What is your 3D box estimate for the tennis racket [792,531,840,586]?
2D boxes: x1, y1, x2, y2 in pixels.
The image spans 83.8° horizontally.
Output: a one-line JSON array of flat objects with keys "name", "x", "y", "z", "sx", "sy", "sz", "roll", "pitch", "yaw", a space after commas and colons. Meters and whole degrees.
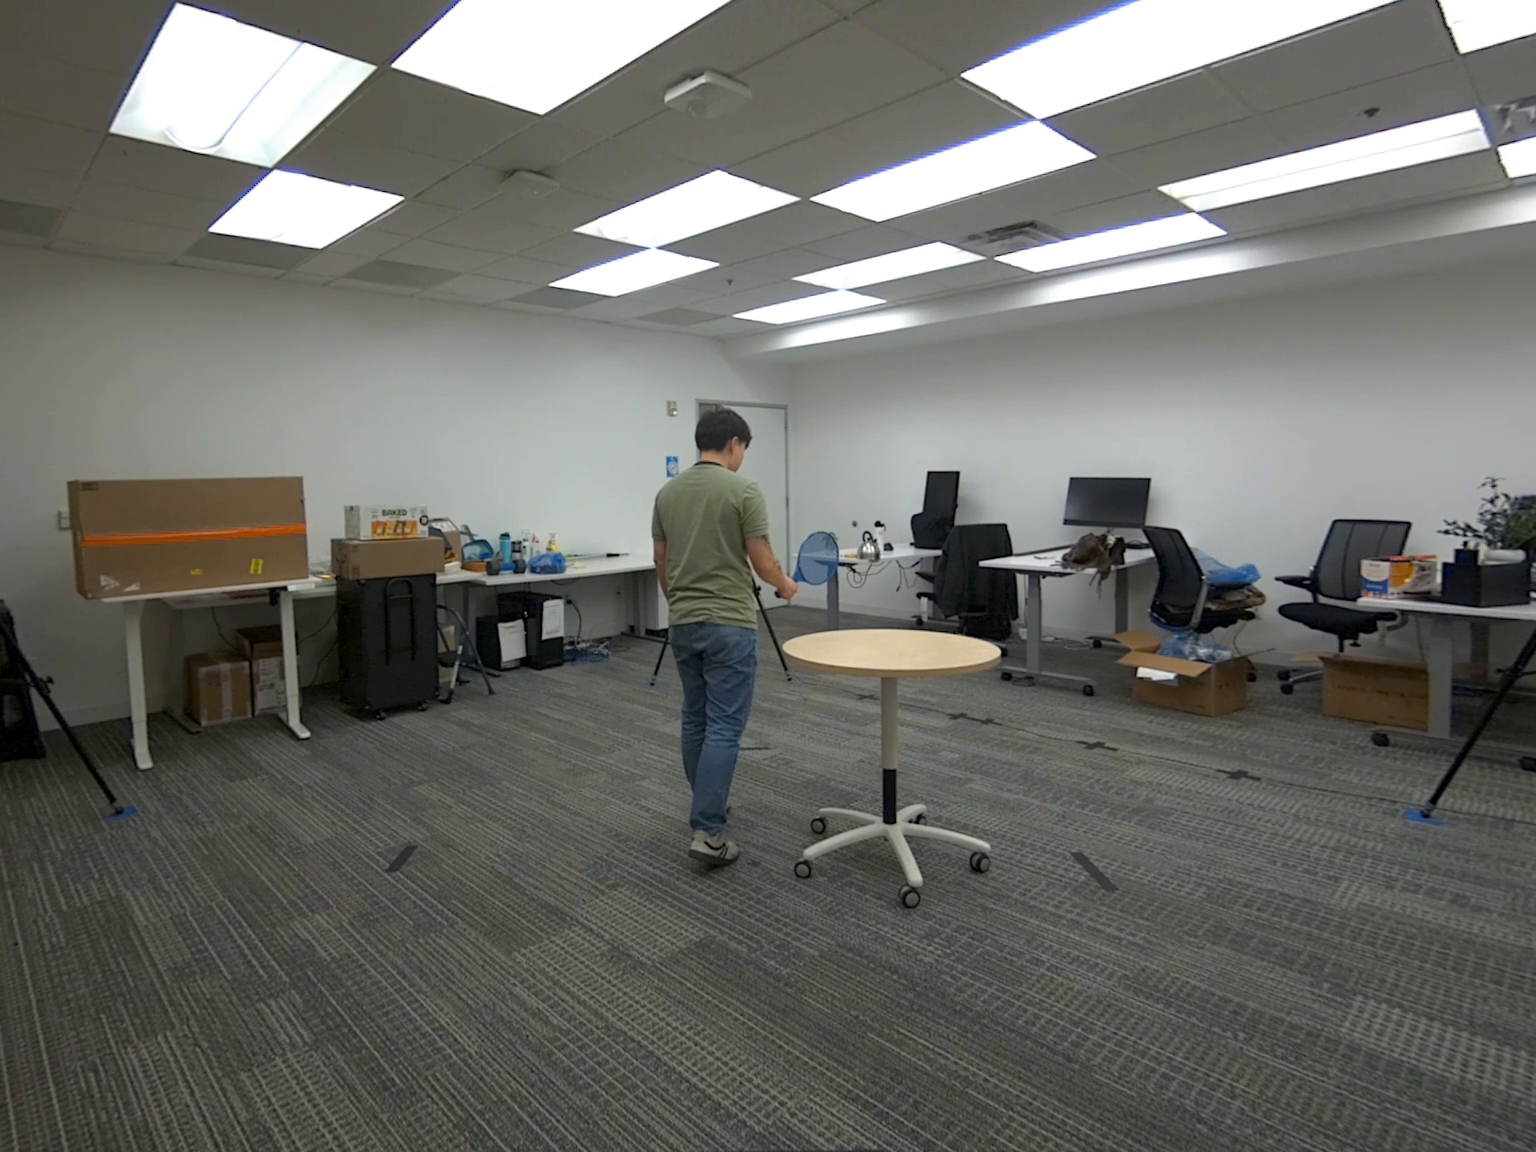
[{"name": "tennis racket", "x": 0.162, "y": -0.031, "z": 3.549, "sx": 0.032, "sy": 0.209, "sz": 0.432, "roll": -10, "pitch": 26, "yaw": 45}]
